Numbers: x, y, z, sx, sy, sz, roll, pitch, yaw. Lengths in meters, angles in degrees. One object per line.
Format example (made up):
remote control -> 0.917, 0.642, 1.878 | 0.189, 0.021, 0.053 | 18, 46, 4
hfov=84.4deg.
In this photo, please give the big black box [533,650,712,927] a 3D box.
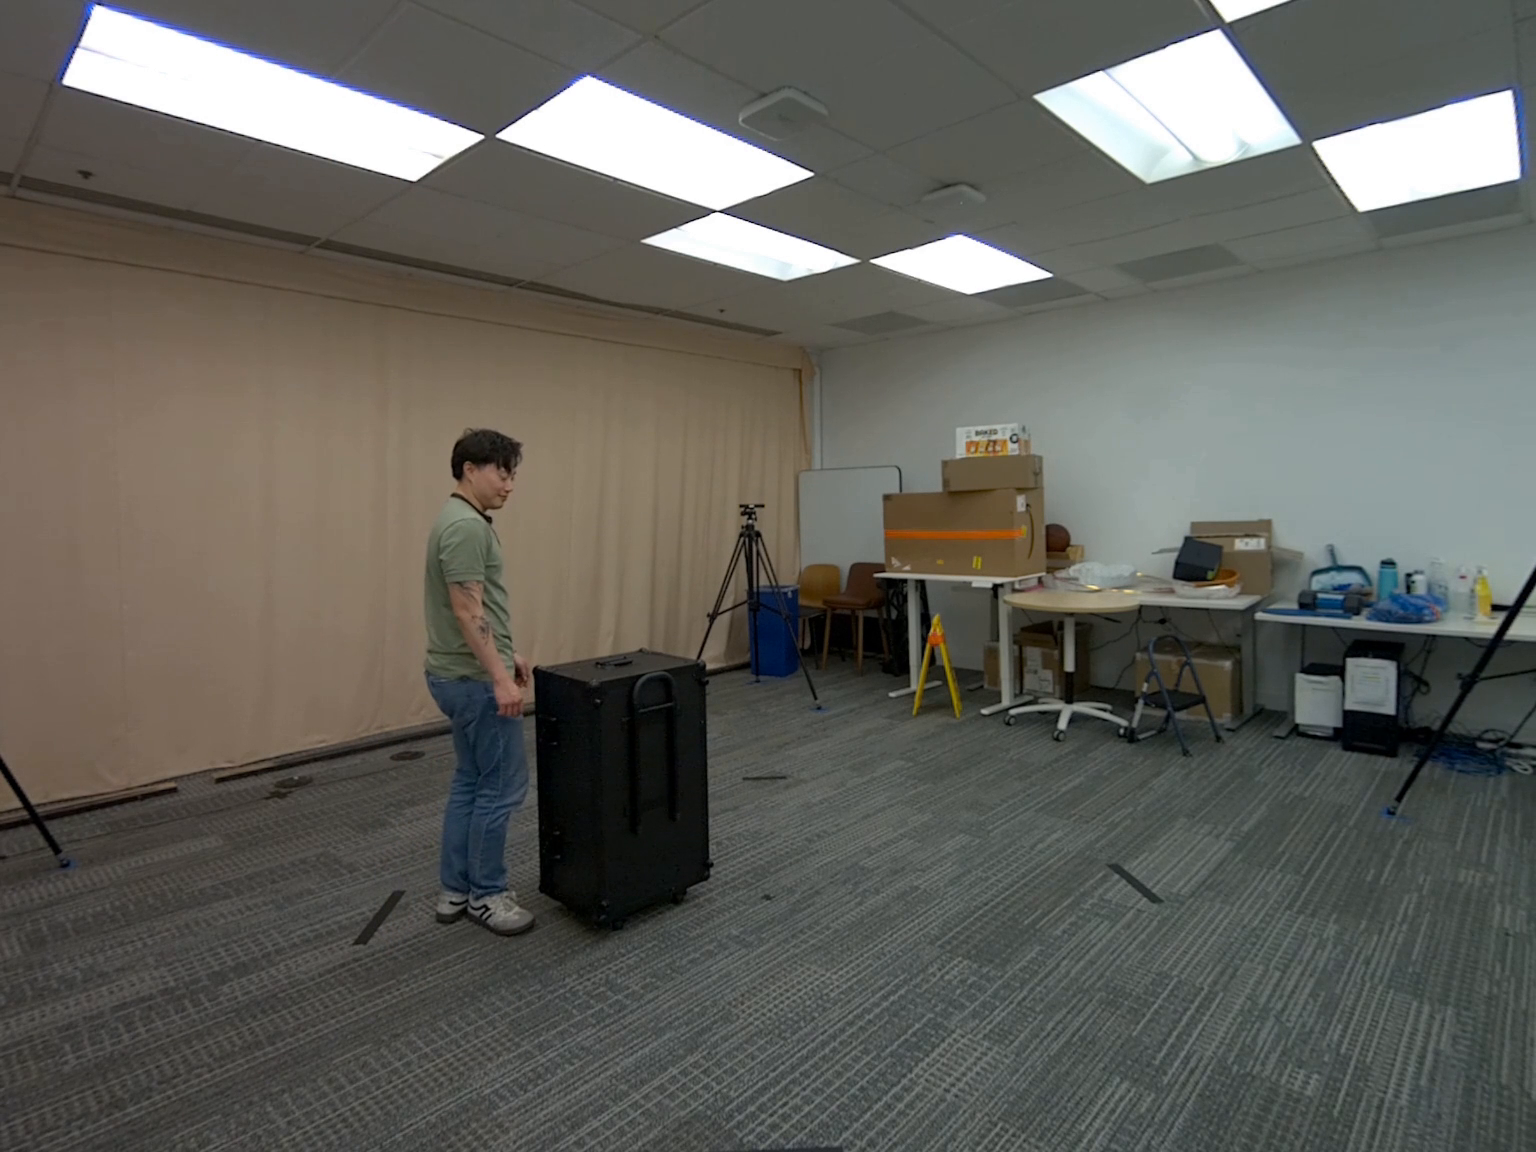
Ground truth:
big black box -> -0.490, 0.733, 2.922 | 0.505, 0.859, 0.409 | -4, 5, -45
